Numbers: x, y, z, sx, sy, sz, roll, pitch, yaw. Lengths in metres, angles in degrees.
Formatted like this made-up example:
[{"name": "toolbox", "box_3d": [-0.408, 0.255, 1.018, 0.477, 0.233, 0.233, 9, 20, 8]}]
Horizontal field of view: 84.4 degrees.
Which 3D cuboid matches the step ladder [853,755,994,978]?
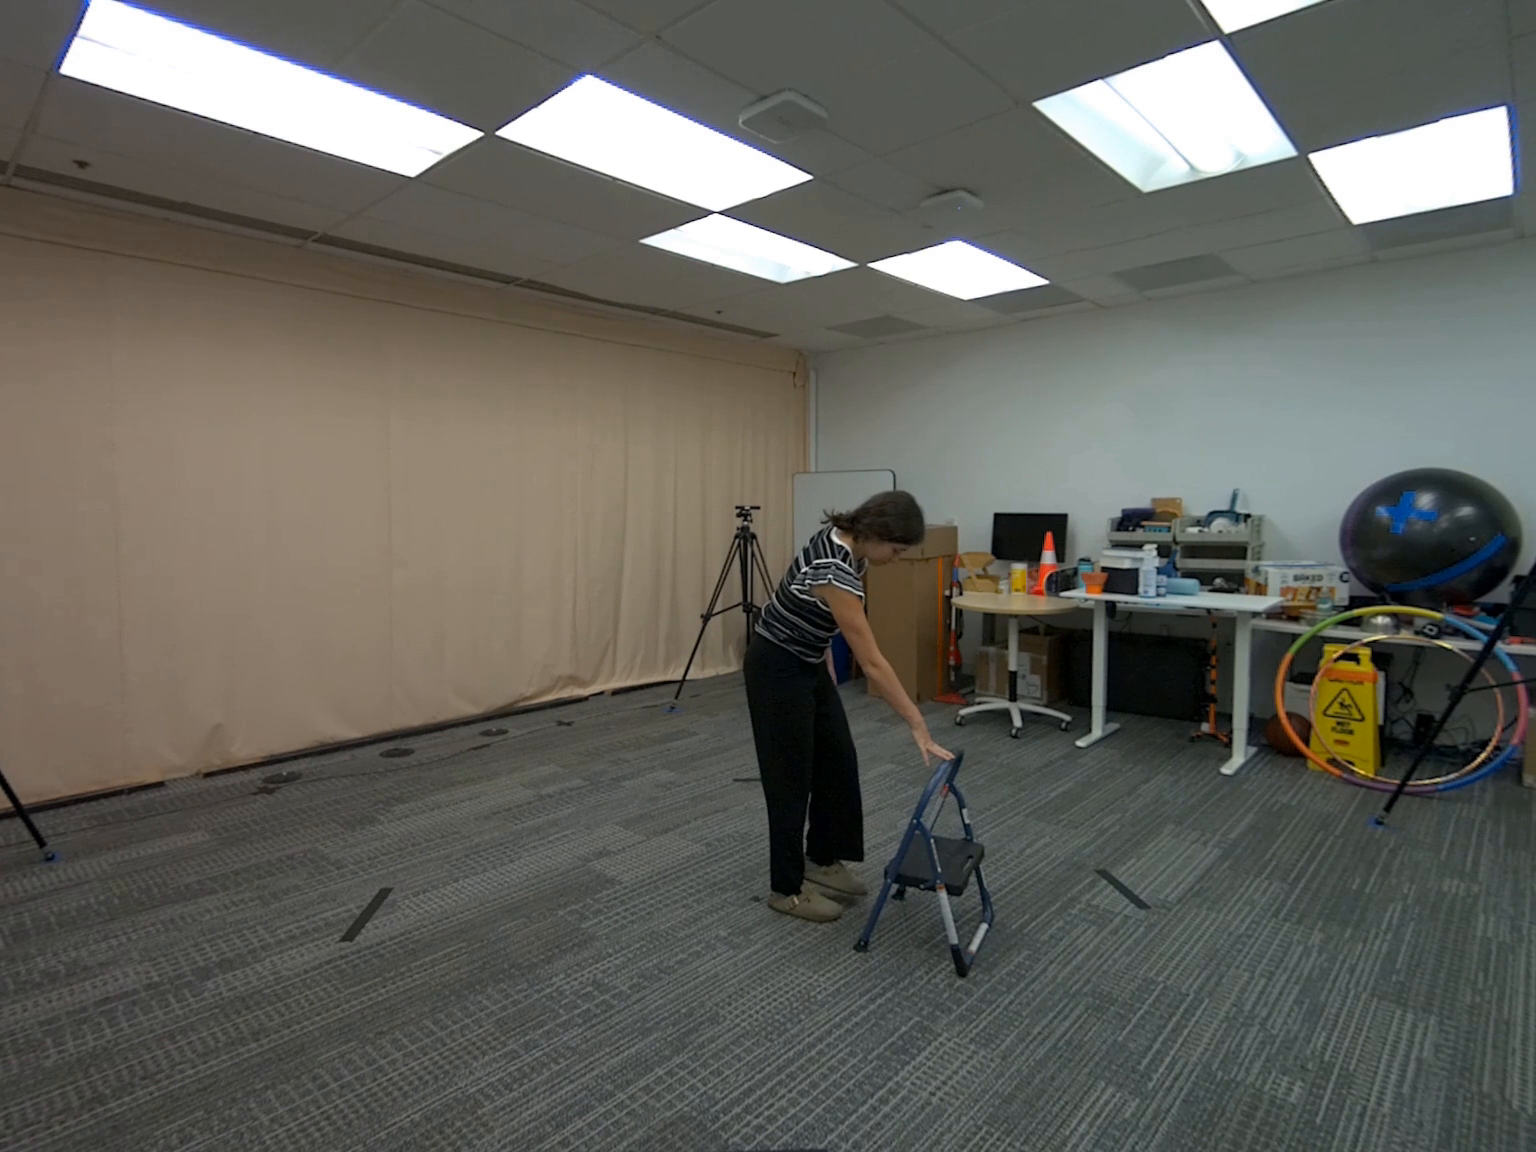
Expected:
[{"name": "step ladder", "box_3d": [0.519, 0.863, 2.718, 0.359, 0.605, 0.420, 1, 4, 27]}]
